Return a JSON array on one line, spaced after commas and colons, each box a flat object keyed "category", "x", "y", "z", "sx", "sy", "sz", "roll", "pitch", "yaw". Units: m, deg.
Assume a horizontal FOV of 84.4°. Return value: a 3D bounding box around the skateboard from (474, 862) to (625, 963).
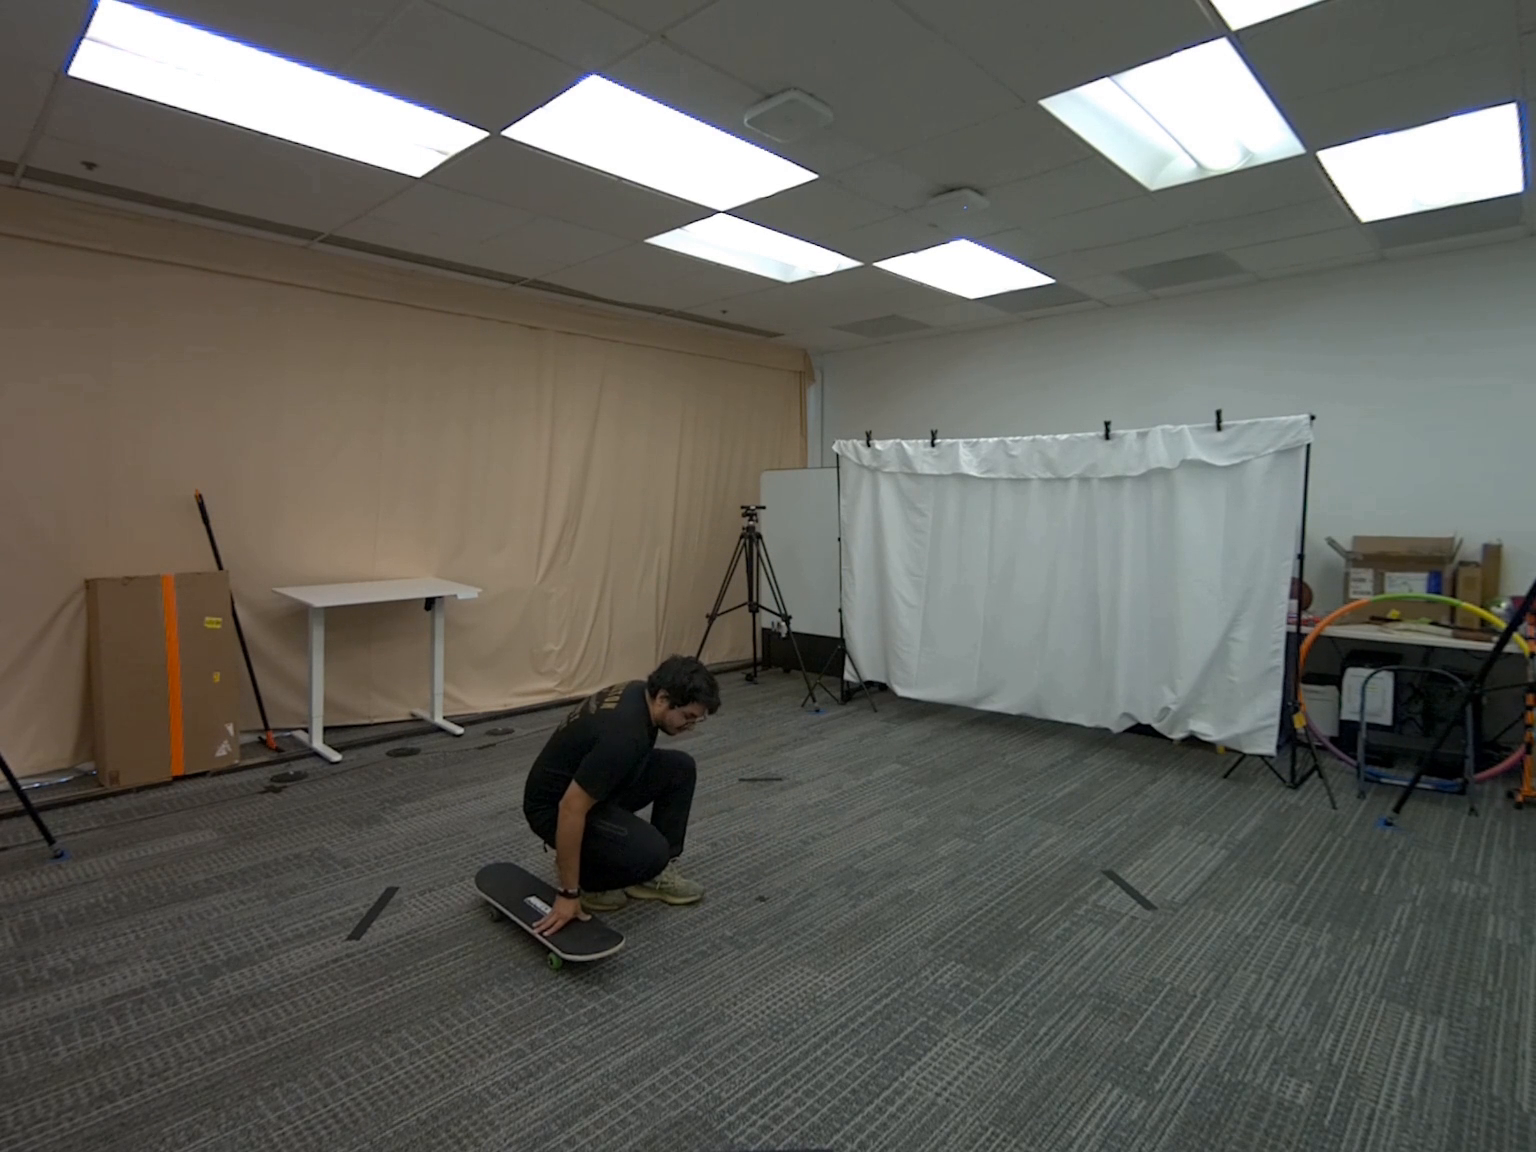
[{"category": "skateboard", "x": -0.725, "y": 1.115, "z": 2.740, "sx": 0.188, "sy": 0.110, "sz": 0.811, "roll": -7, "pitch": 7, "yaw": -43}]
